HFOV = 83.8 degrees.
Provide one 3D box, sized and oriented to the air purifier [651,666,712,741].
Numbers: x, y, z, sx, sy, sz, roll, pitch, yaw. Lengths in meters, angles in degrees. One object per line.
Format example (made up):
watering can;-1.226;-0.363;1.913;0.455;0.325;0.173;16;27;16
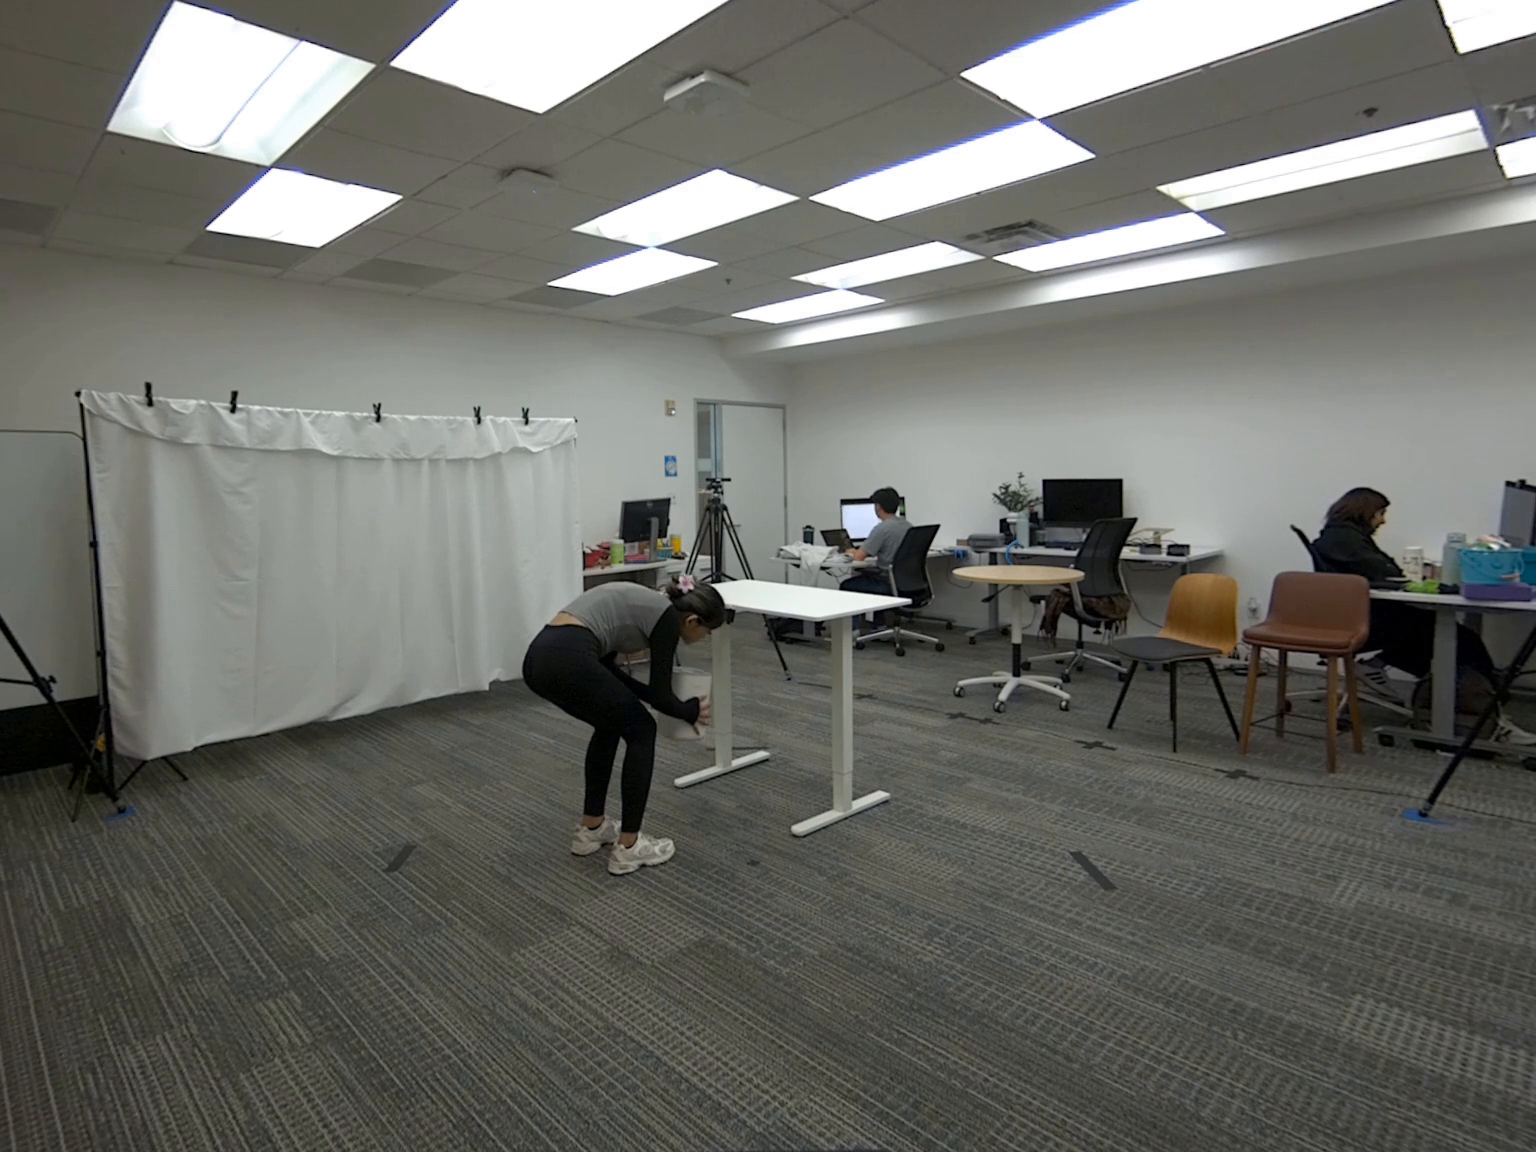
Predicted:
air purifier;-0.316;0.496;3.386;0.167;0.265;0.176;5;3;-33
